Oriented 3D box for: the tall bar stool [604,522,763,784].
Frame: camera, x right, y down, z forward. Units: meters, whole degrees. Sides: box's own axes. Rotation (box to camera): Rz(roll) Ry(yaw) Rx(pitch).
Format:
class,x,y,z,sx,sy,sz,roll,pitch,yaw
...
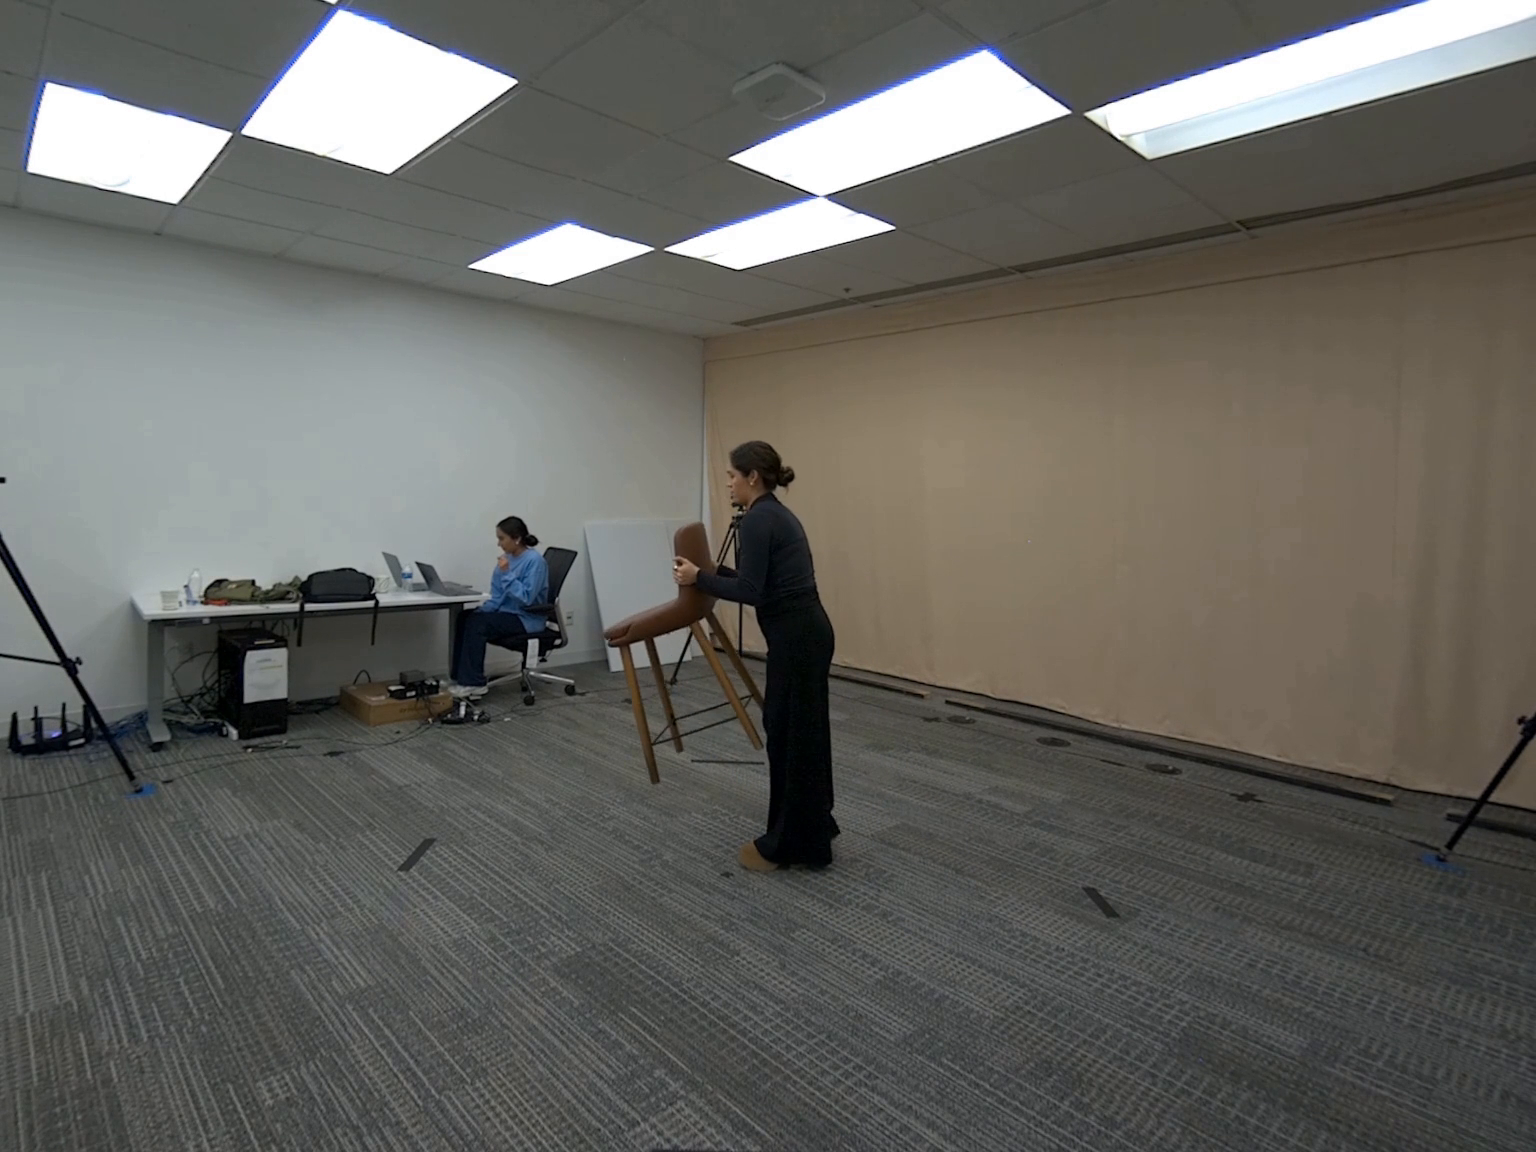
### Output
class,x,y,z,sx,sy,sz,roll,pitch,yaw
tall bar stool,-0.353,0.292,3.316,0.470,0.888,0.454,-18,2,12
